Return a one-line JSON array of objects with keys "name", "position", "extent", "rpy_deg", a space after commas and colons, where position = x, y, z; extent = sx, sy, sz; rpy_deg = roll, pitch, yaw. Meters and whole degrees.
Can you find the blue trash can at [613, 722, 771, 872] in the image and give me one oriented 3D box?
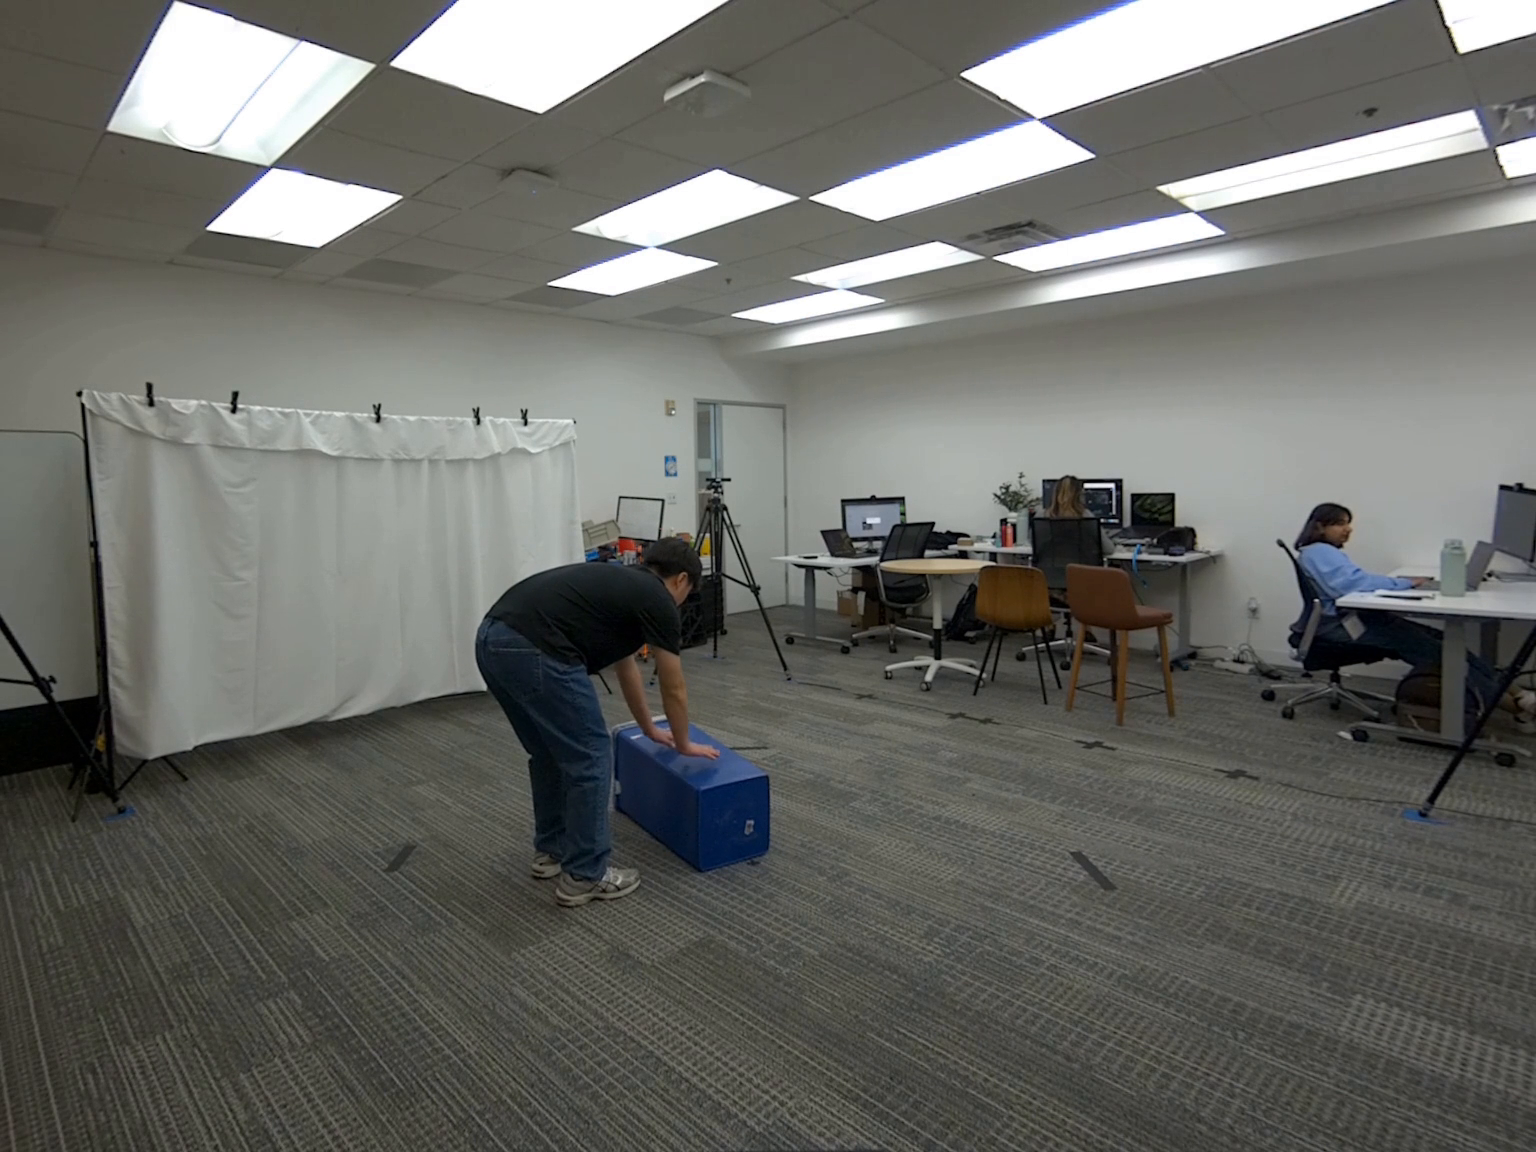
[{"name": "blue trash can", "position": [-0.308, 0.846, 3.399], "extent": [0.365, 0.375, 0.736], "rpy_deg": [-4, 9, -32]}]
